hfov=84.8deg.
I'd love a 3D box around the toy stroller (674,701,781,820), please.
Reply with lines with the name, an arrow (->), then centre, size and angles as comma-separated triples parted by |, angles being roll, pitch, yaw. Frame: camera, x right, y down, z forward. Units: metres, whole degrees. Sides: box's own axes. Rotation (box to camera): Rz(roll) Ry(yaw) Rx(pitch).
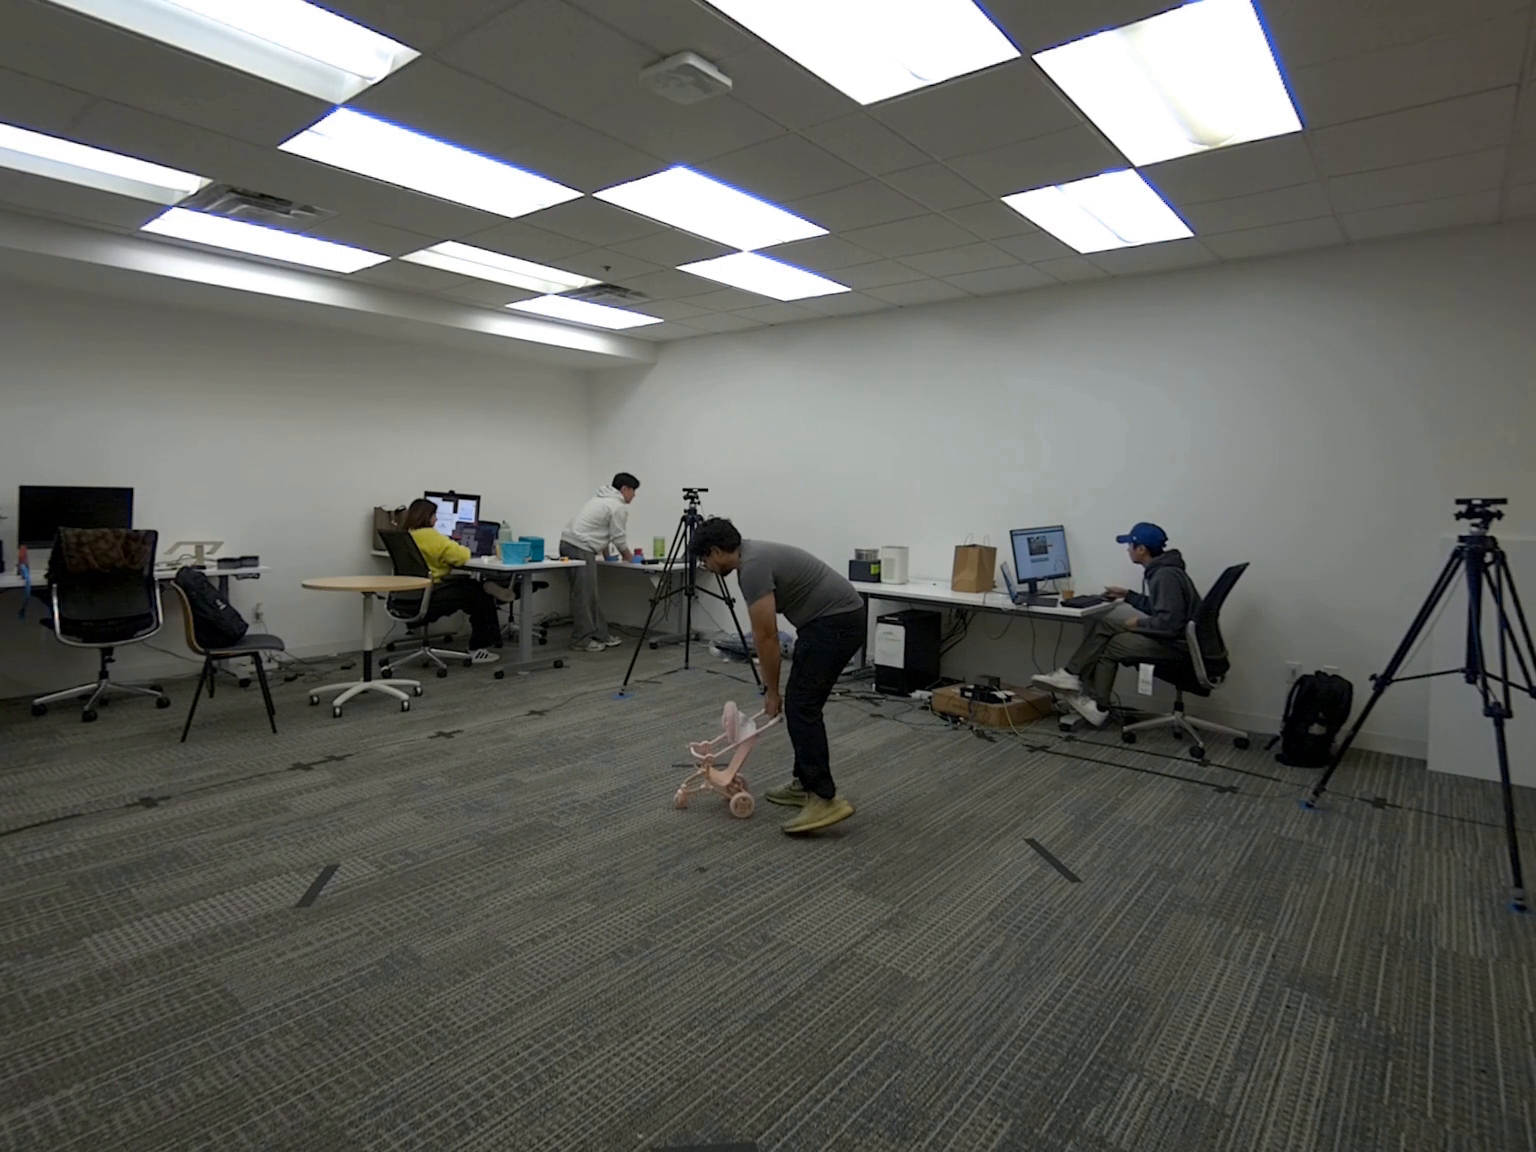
toy stroller -> -0.201, 0.784, 3.714 | 0.341, 0.534, 0.282 | 17, 2, -3
